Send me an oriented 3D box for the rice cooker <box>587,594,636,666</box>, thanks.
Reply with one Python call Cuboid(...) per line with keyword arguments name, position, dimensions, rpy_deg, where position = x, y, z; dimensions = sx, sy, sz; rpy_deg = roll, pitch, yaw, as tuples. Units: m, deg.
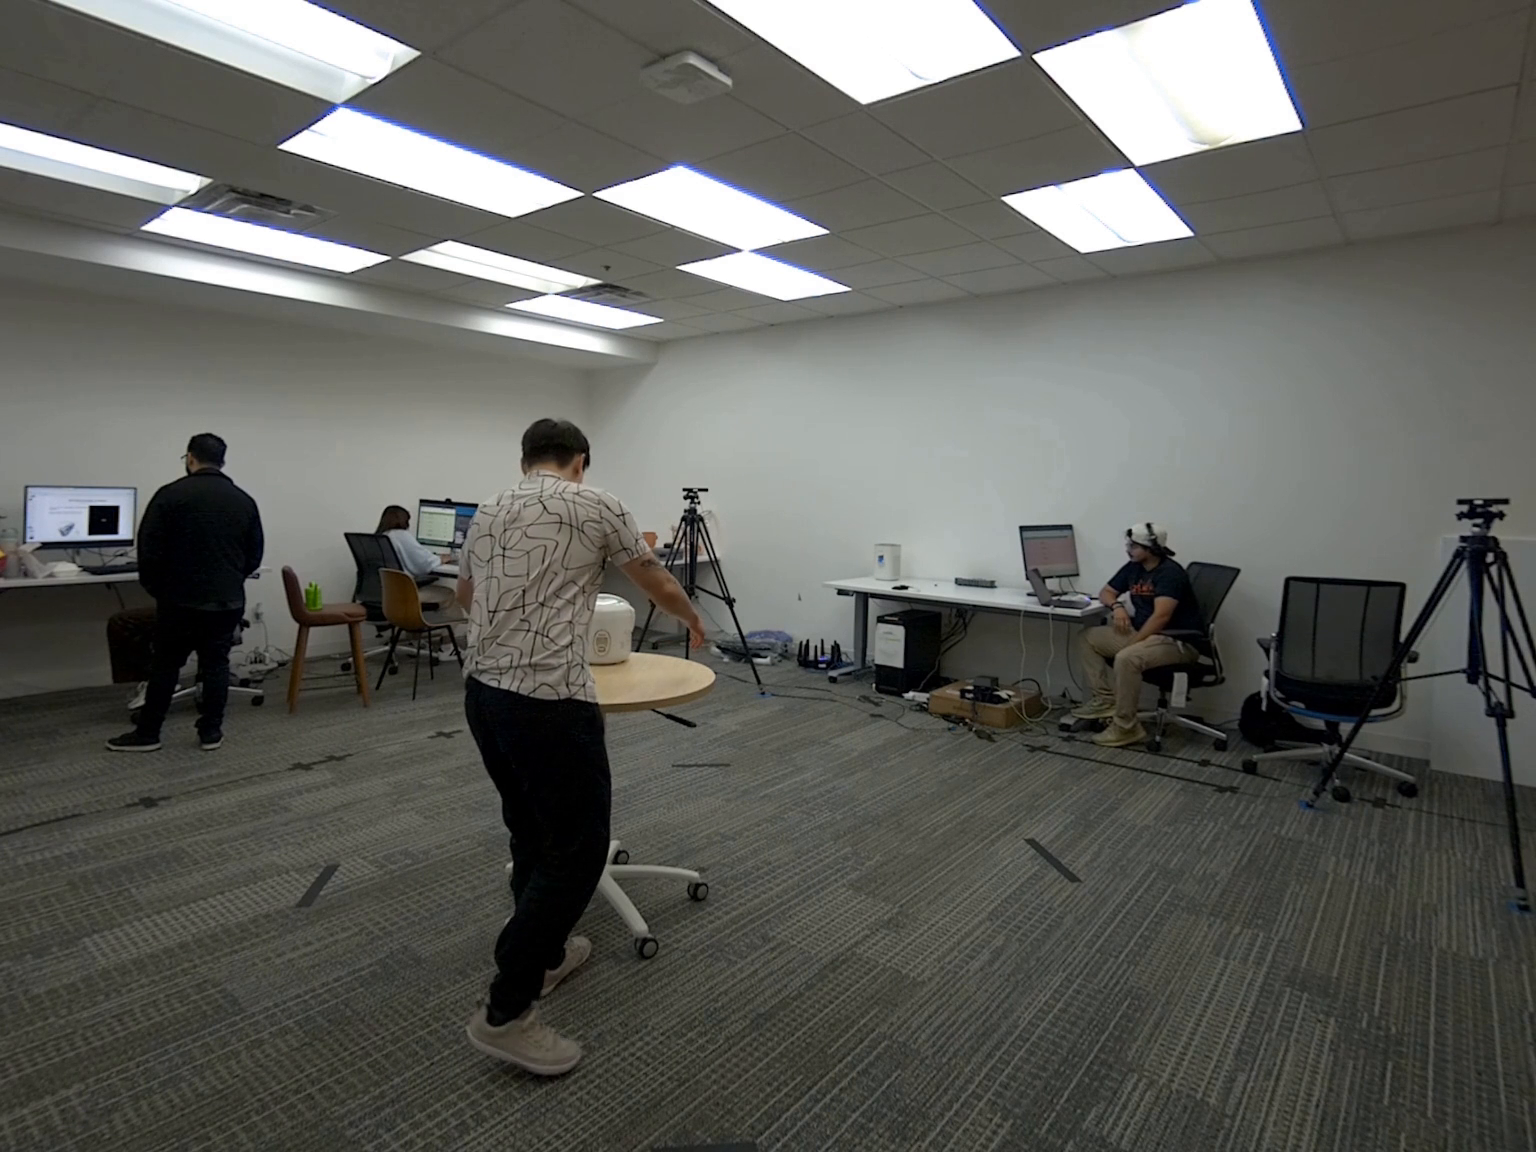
Cuboid(name="rice cooker", position=(-0.587, 0.176, 2.969), dimensions=(0.219, 0.232, 0.220), rpy_deg=(1, 2, -9))
